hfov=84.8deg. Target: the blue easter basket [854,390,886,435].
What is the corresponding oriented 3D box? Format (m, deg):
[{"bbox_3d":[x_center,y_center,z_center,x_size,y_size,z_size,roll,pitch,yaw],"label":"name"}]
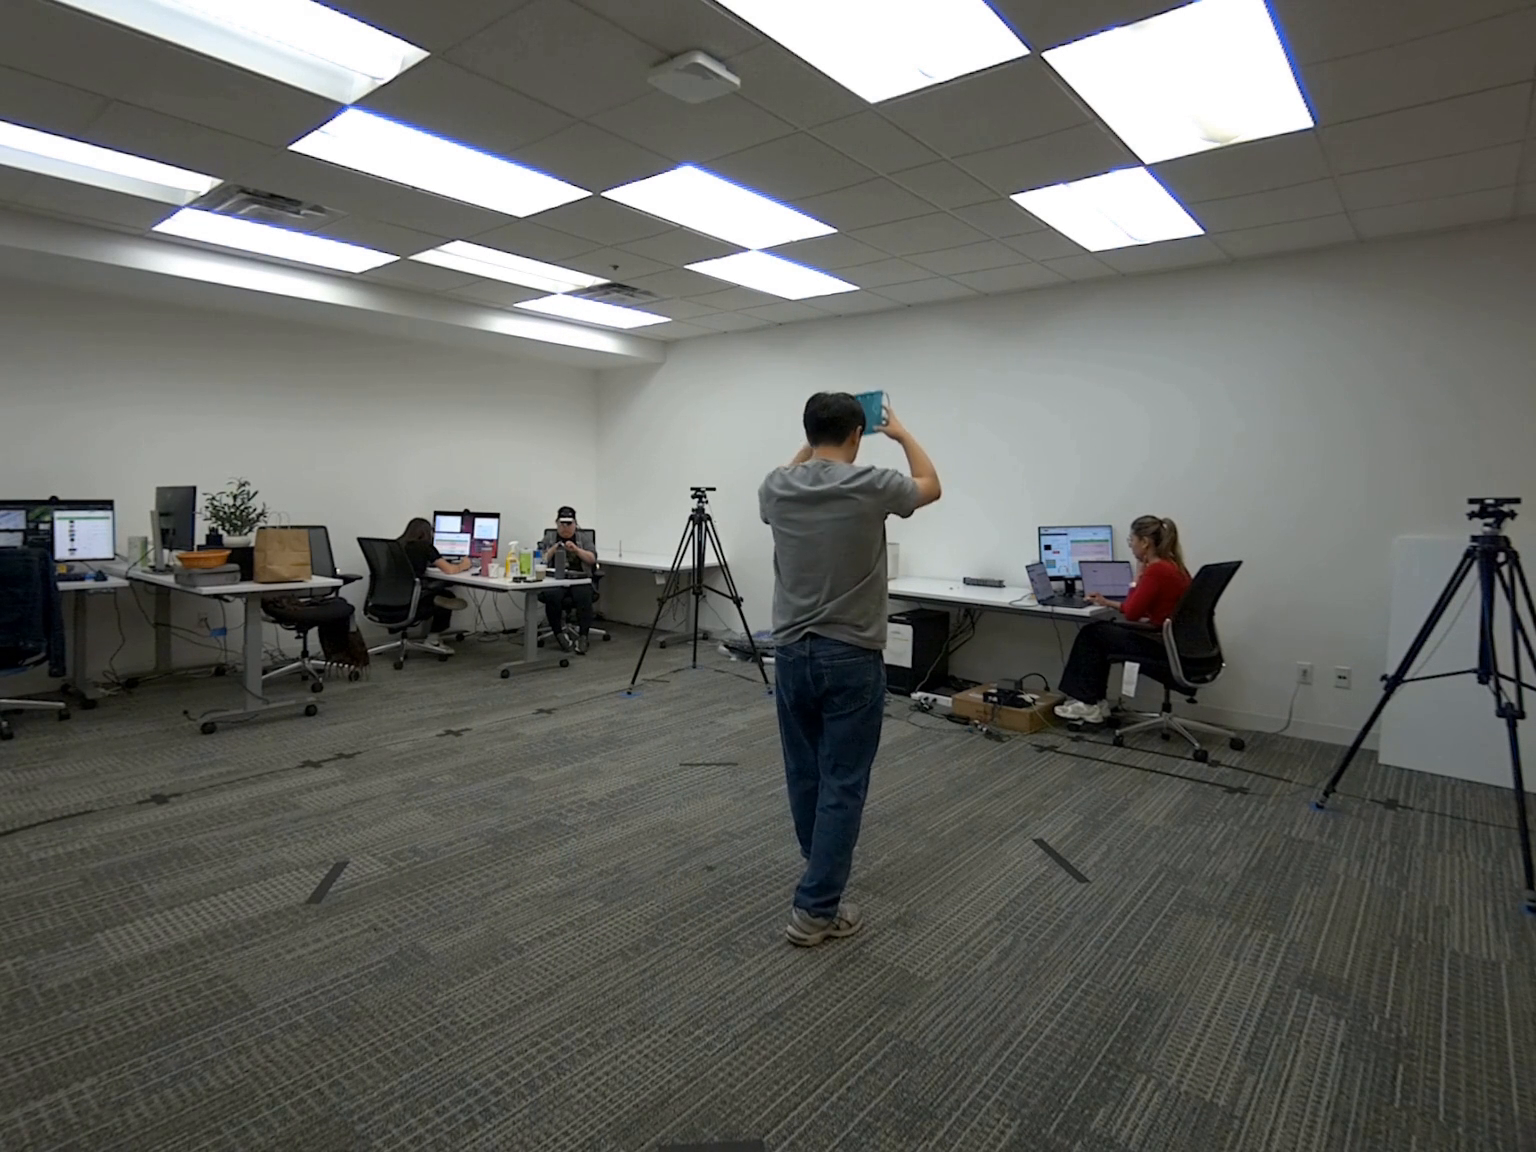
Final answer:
[{"bbox_3d":[0.315,-0.609,3.101,0.243,0.154,0.246,-6,11,-1],"label":"blue easter basket"}]
